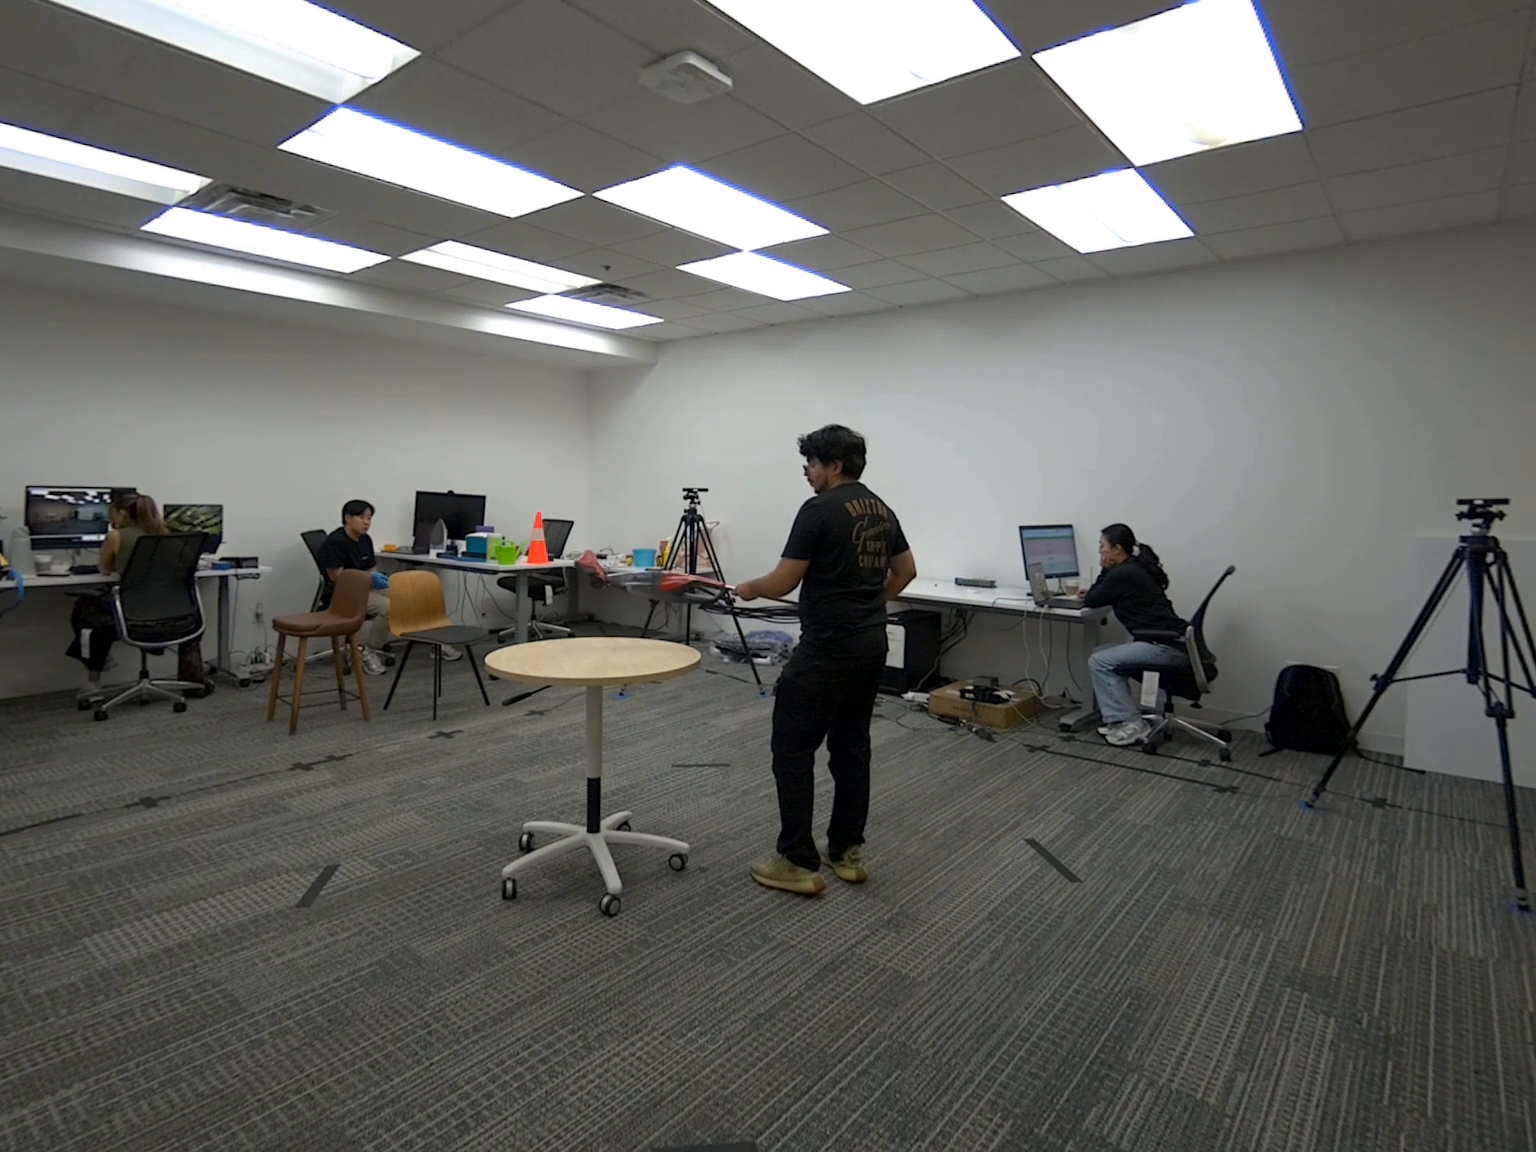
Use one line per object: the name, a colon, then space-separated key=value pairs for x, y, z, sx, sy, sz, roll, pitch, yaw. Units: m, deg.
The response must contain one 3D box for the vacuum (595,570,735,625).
vacuum: x=-0.201 y=0.097 z=3.315 sx=1.048 sy=0.143 sz=0.254 roll=12 pitch=10 yaw=-1
